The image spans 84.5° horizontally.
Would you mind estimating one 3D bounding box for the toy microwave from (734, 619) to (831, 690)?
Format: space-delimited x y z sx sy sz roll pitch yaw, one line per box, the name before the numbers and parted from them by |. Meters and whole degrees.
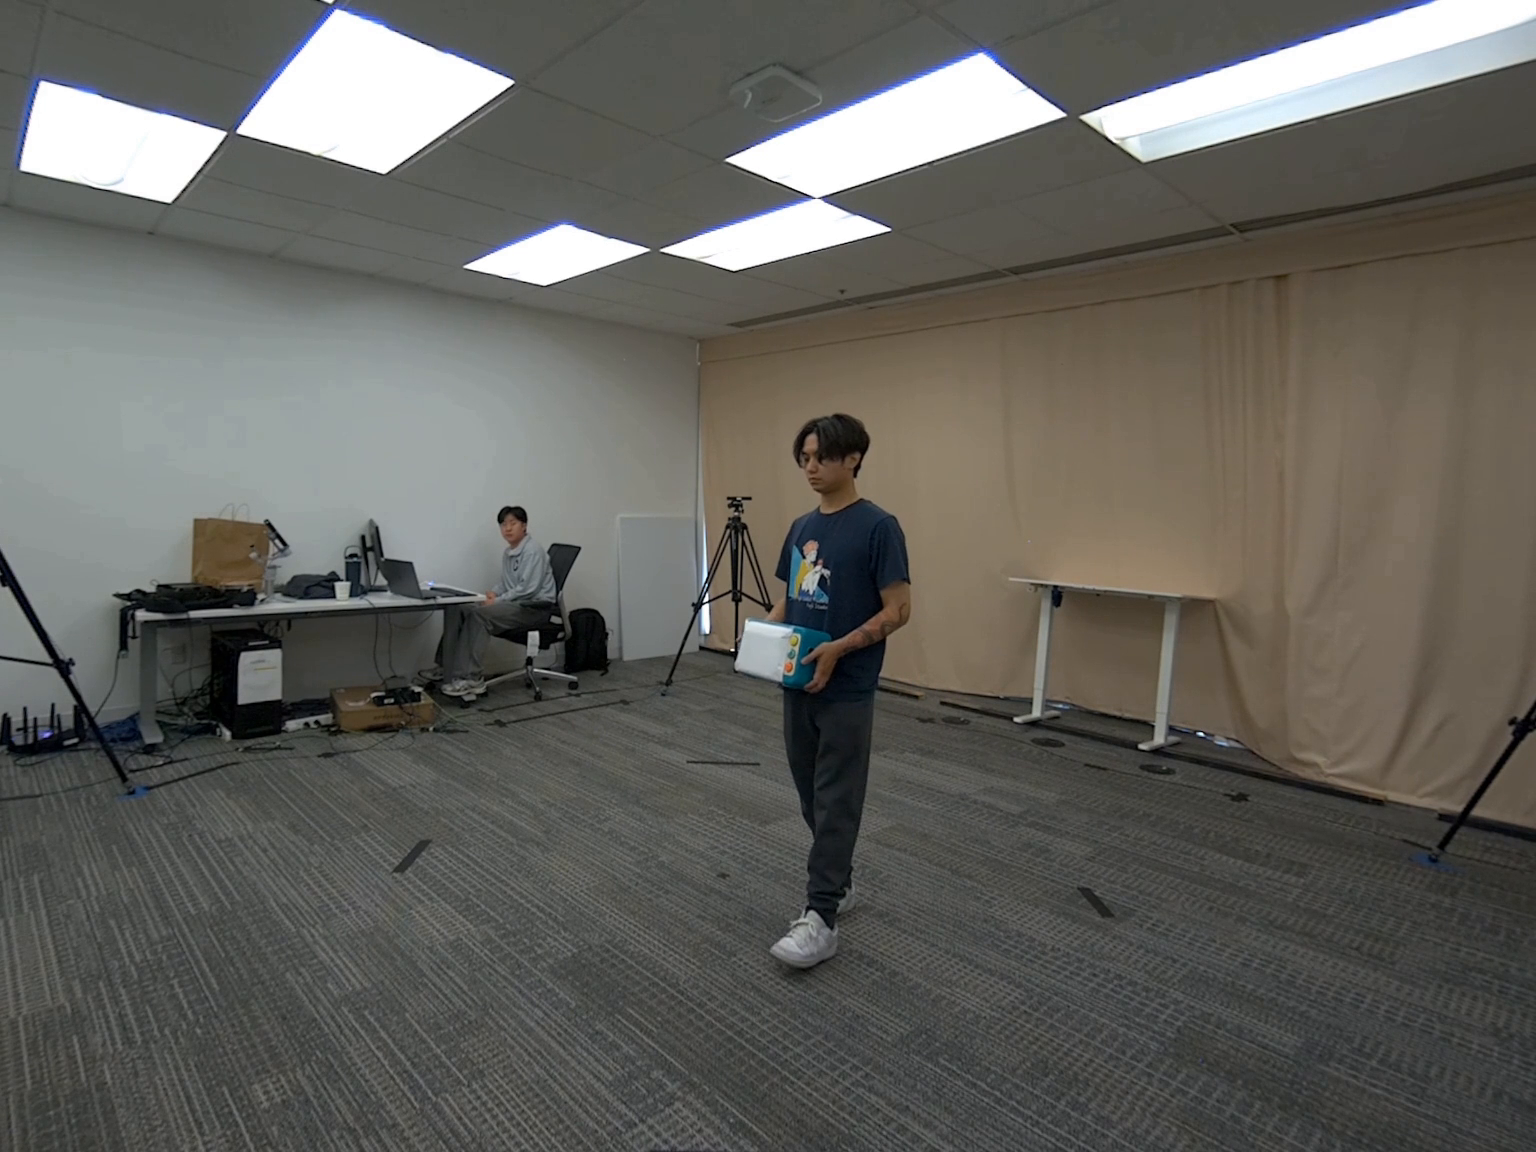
toy microwave | 0.031 0.234 2.629 0.148 0.185 0.293 17 -7 -43
